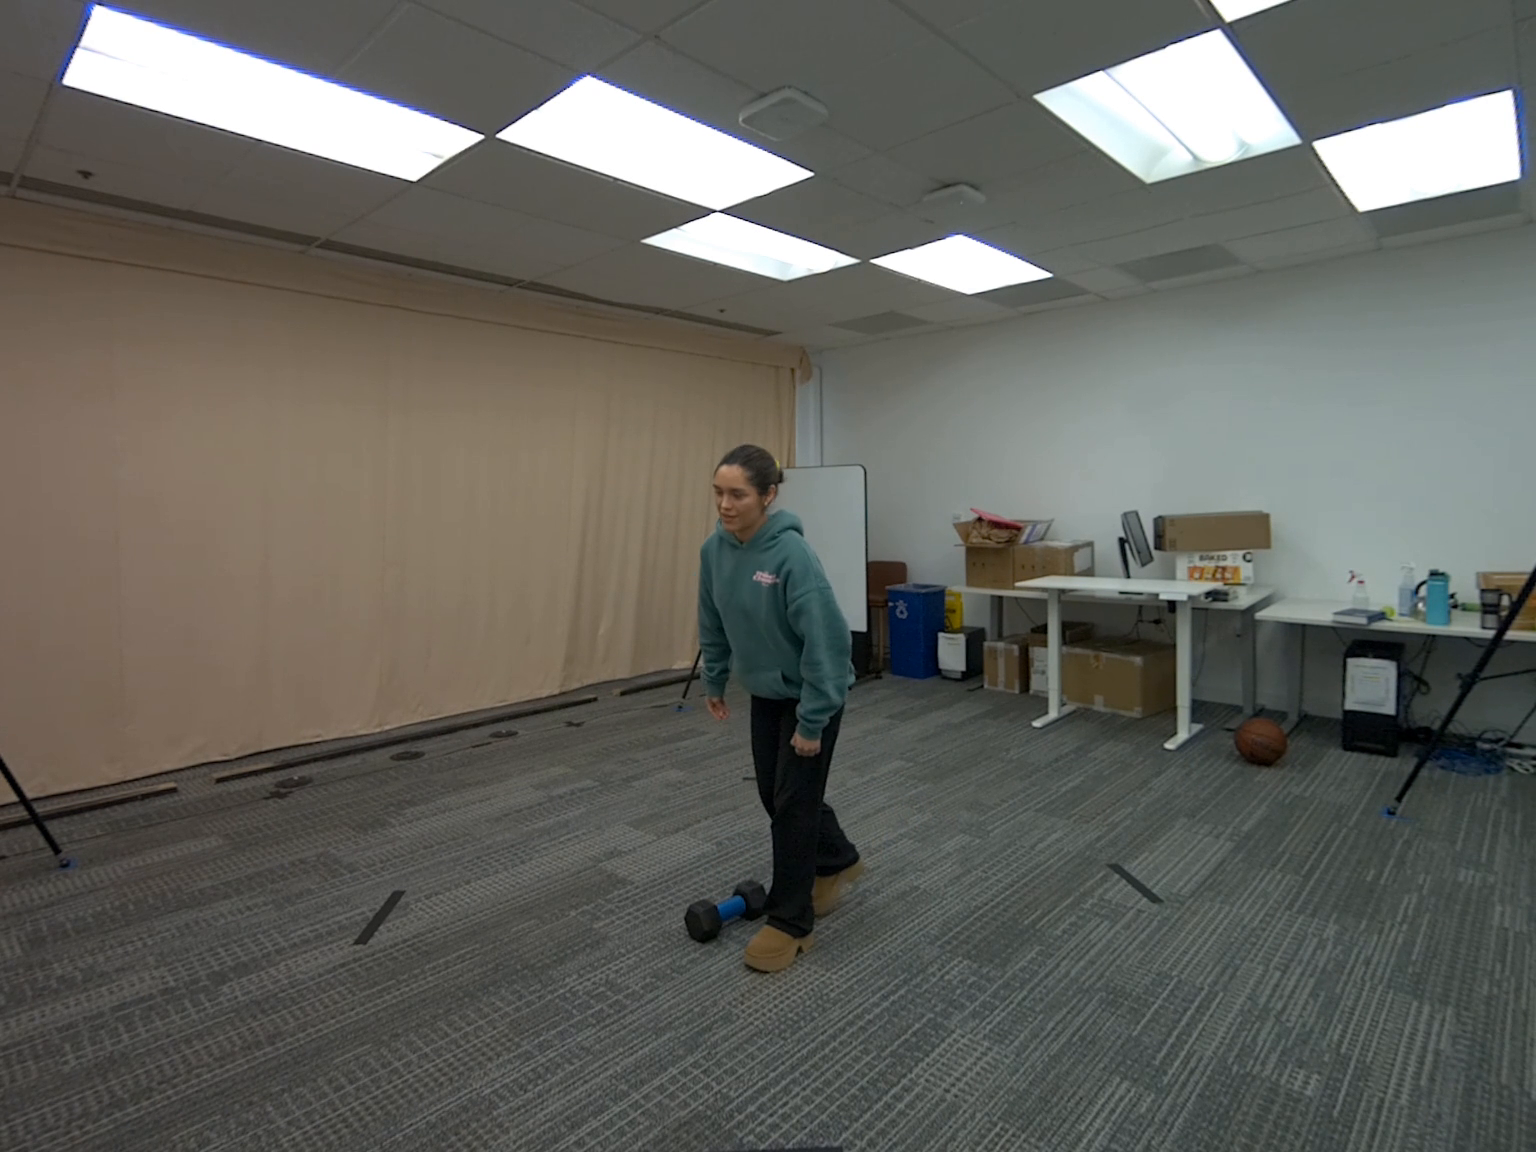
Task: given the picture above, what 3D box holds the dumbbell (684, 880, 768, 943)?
[{"bbox_3d":[-0.135,1.105,2.785,0.284,0.125,0.110,-4,-26,-43],"label":"dumbbell"}]
